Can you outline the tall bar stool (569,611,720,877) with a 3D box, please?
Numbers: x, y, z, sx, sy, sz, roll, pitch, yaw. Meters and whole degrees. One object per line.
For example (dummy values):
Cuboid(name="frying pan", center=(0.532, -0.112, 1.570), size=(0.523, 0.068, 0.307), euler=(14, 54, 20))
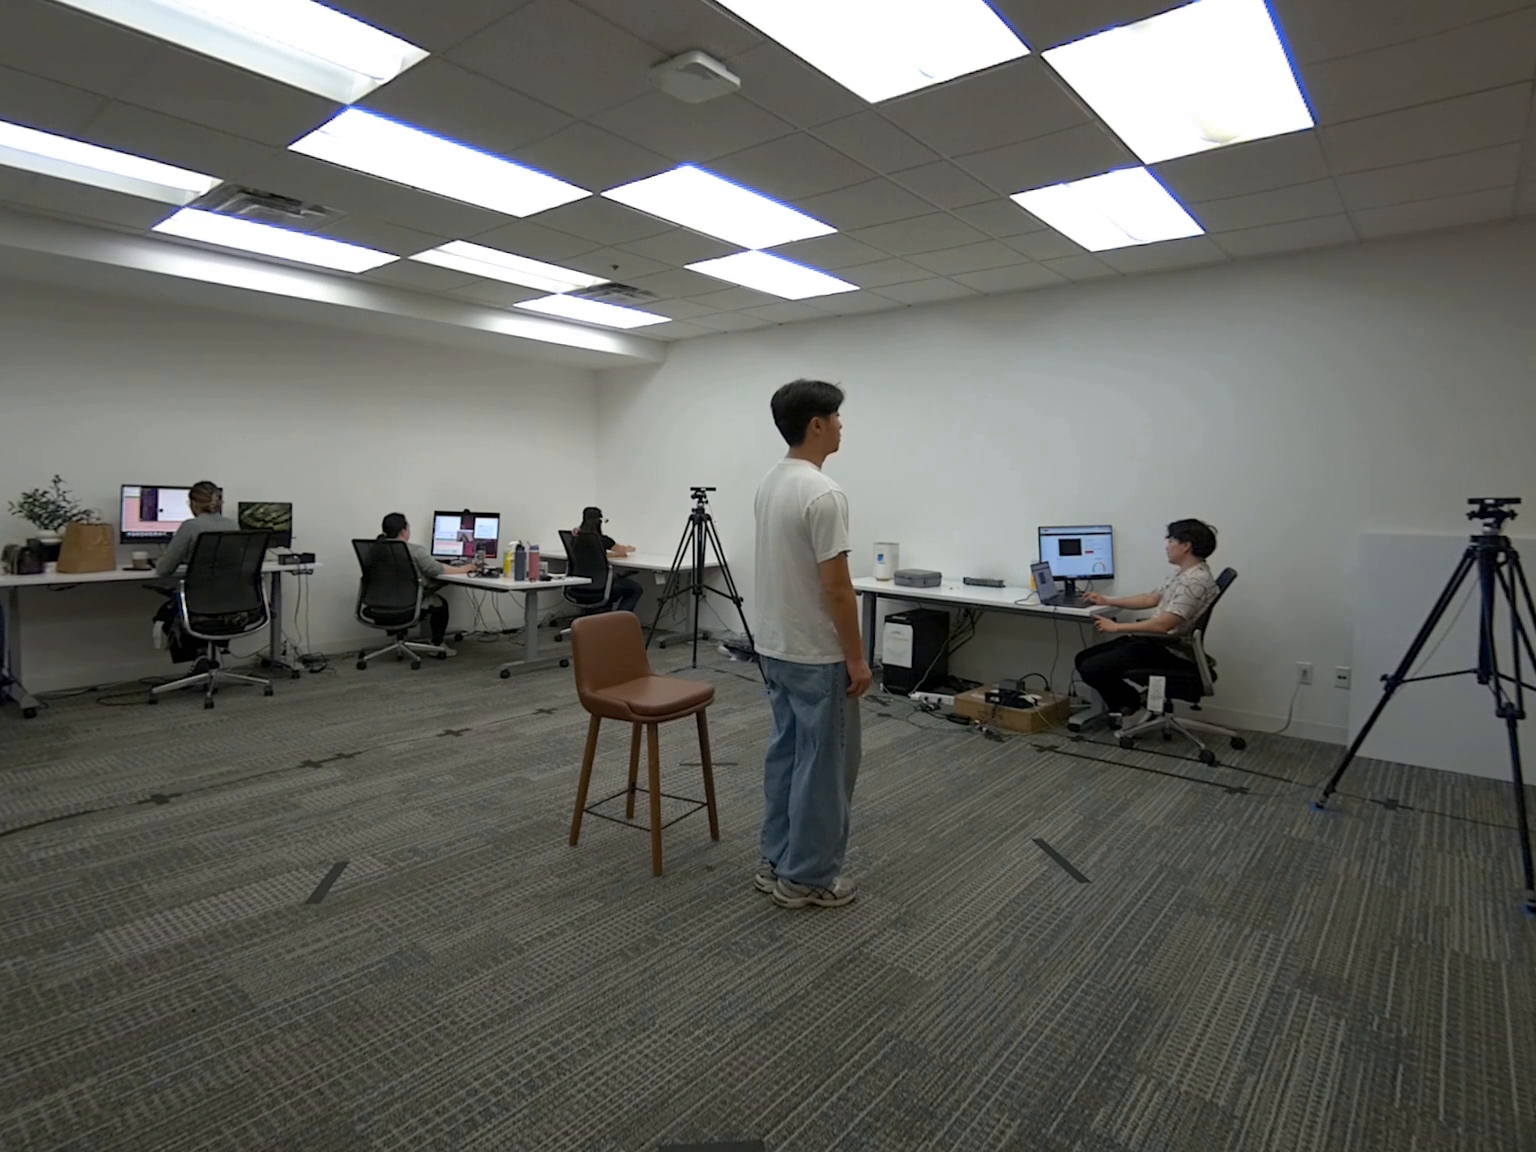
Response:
Cuboid(name="tall bar stool", center=(-0.489, 0.604, 3.309), size=(0.481, 0.889, 0.444), euler=(0, 2, 32))
